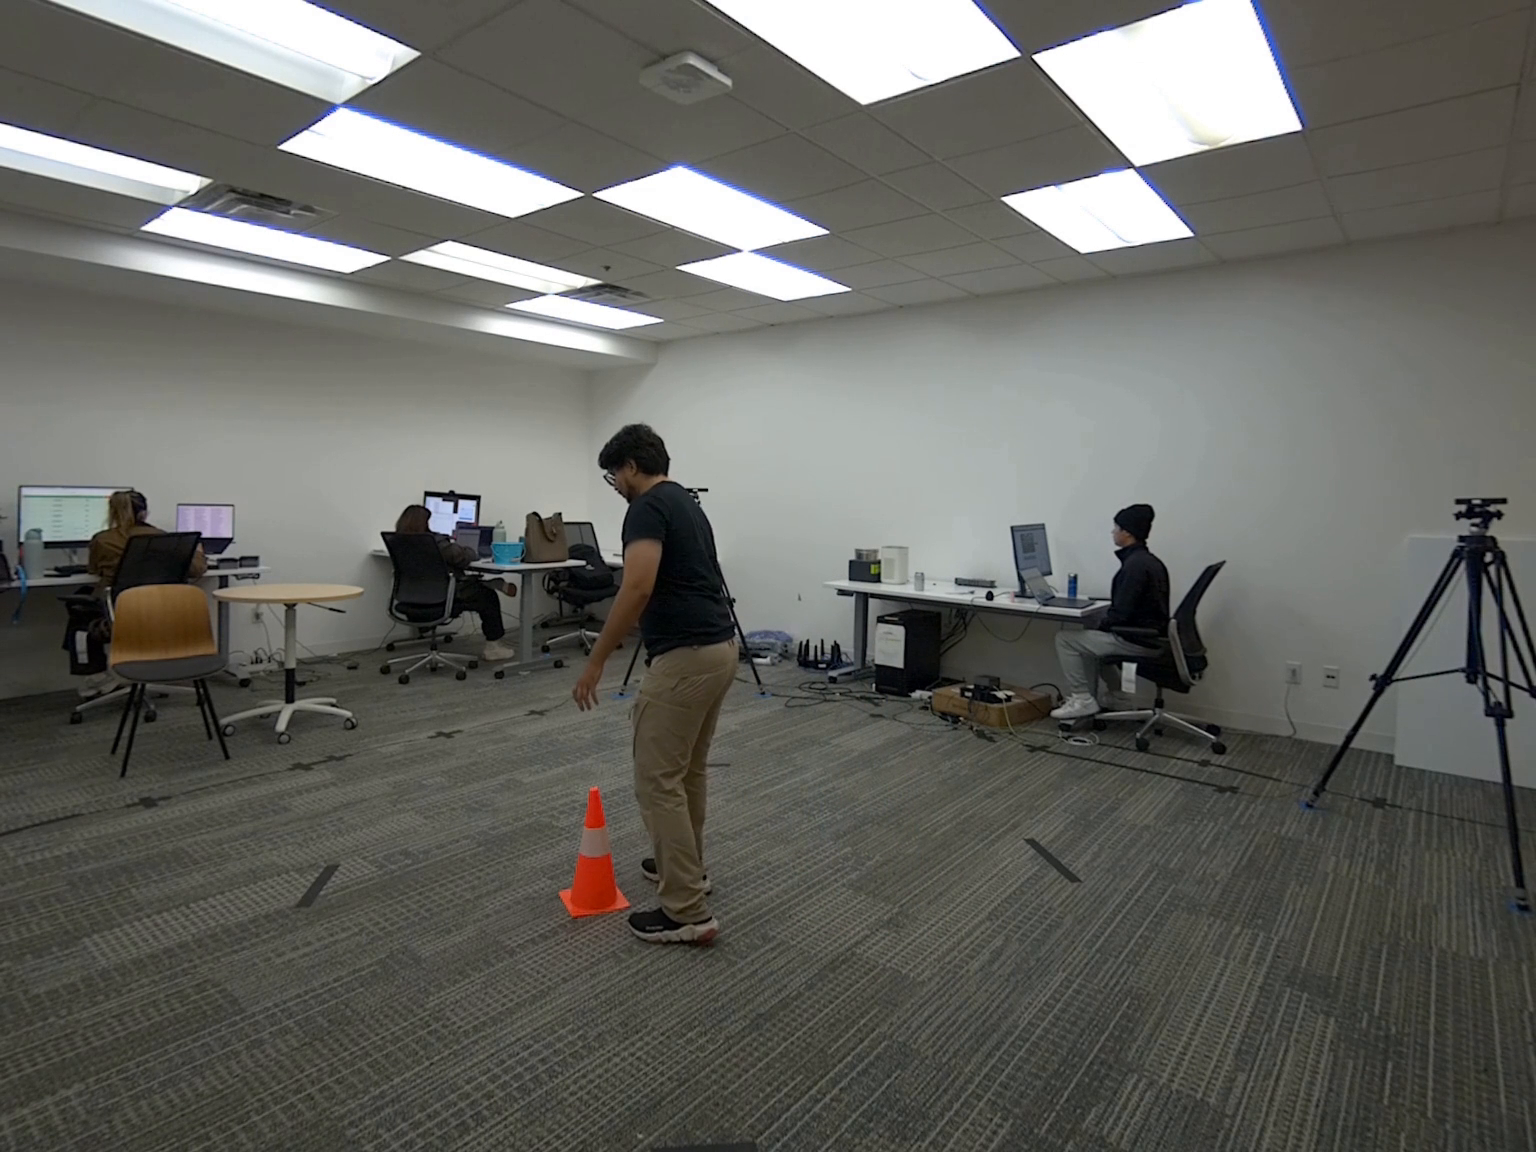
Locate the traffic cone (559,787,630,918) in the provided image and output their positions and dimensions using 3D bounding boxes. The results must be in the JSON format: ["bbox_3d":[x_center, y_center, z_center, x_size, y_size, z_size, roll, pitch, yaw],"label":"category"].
[{"bbox_3d":[-0.586,0.900,2.851,0.198,0.382,0.211,0,6,-28],"label":"traffic cone"}]
